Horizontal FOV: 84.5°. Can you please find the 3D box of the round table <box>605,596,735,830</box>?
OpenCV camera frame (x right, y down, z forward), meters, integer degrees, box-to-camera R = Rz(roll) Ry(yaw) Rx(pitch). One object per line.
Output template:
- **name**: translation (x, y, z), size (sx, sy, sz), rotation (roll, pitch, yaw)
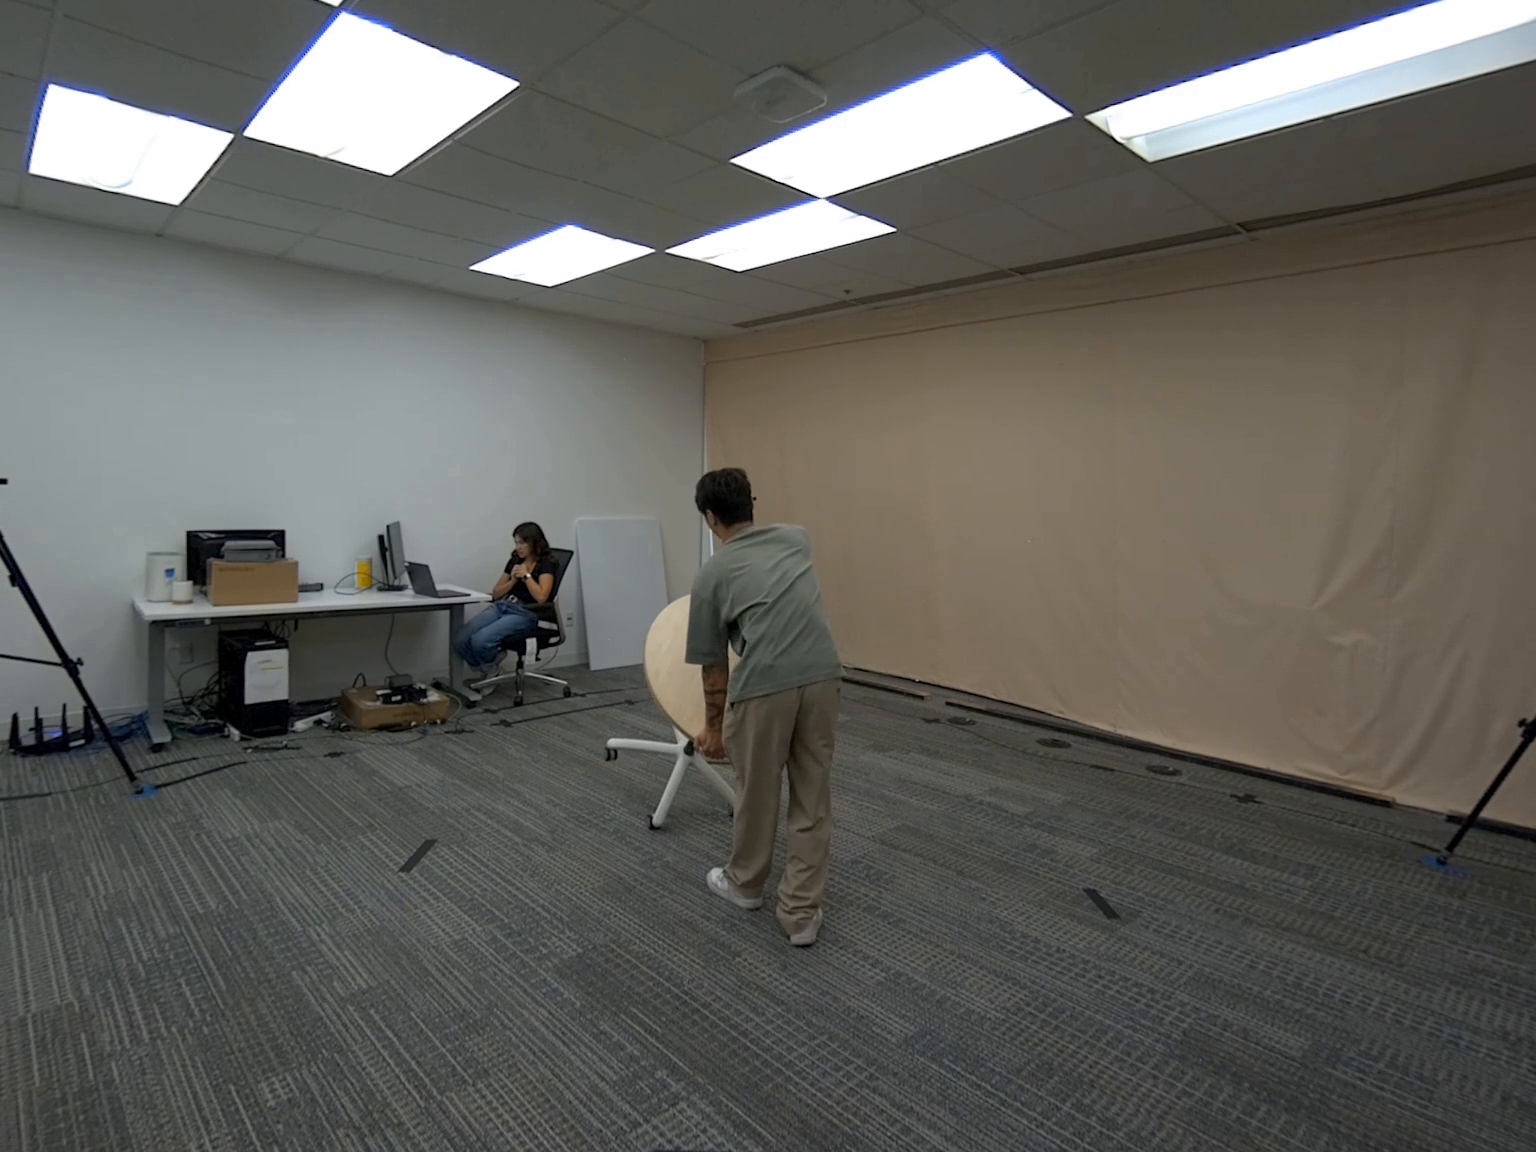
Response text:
- **round table**: translation (-0.254, 0.602, 3.530), size (0.775, 0.803, 0.779), rotation (13, -45, -15)
